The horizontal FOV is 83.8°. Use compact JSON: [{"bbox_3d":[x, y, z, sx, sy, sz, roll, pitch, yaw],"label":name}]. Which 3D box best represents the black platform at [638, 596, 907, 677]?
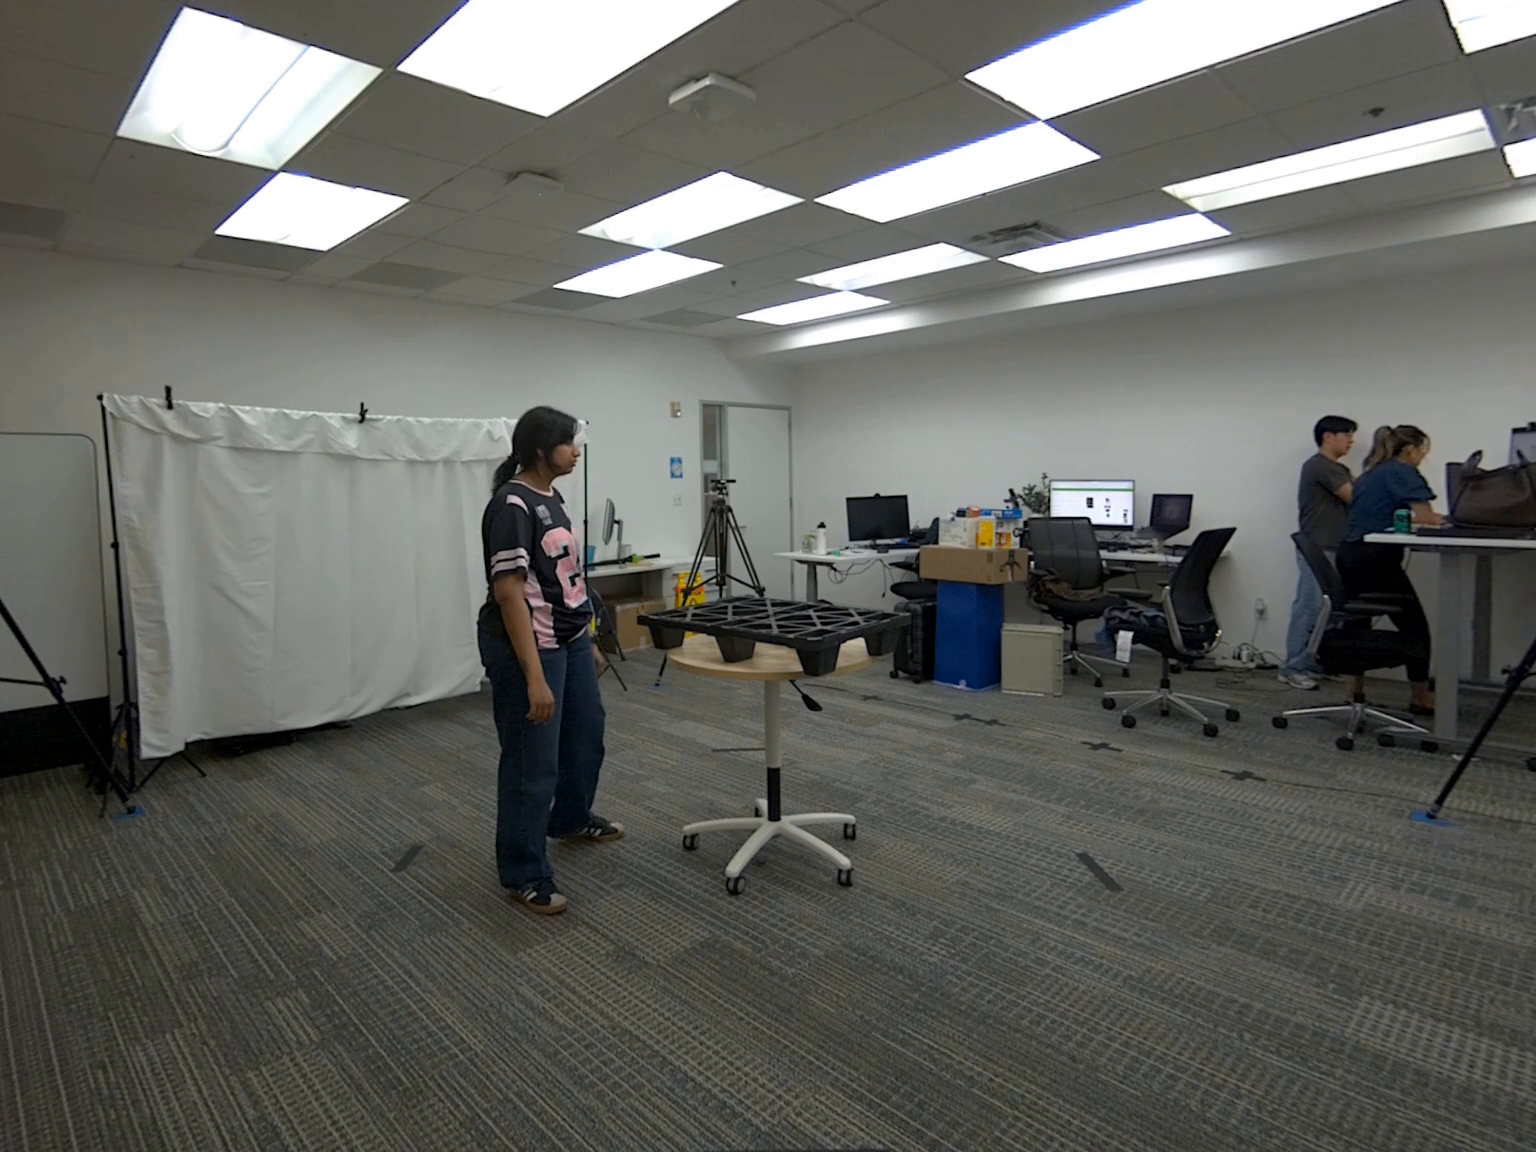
[{"bbox_3d":[0.014,0.204,3.054,0.830,0.142,0.590,4,9,41],"label":"black platform"}]
